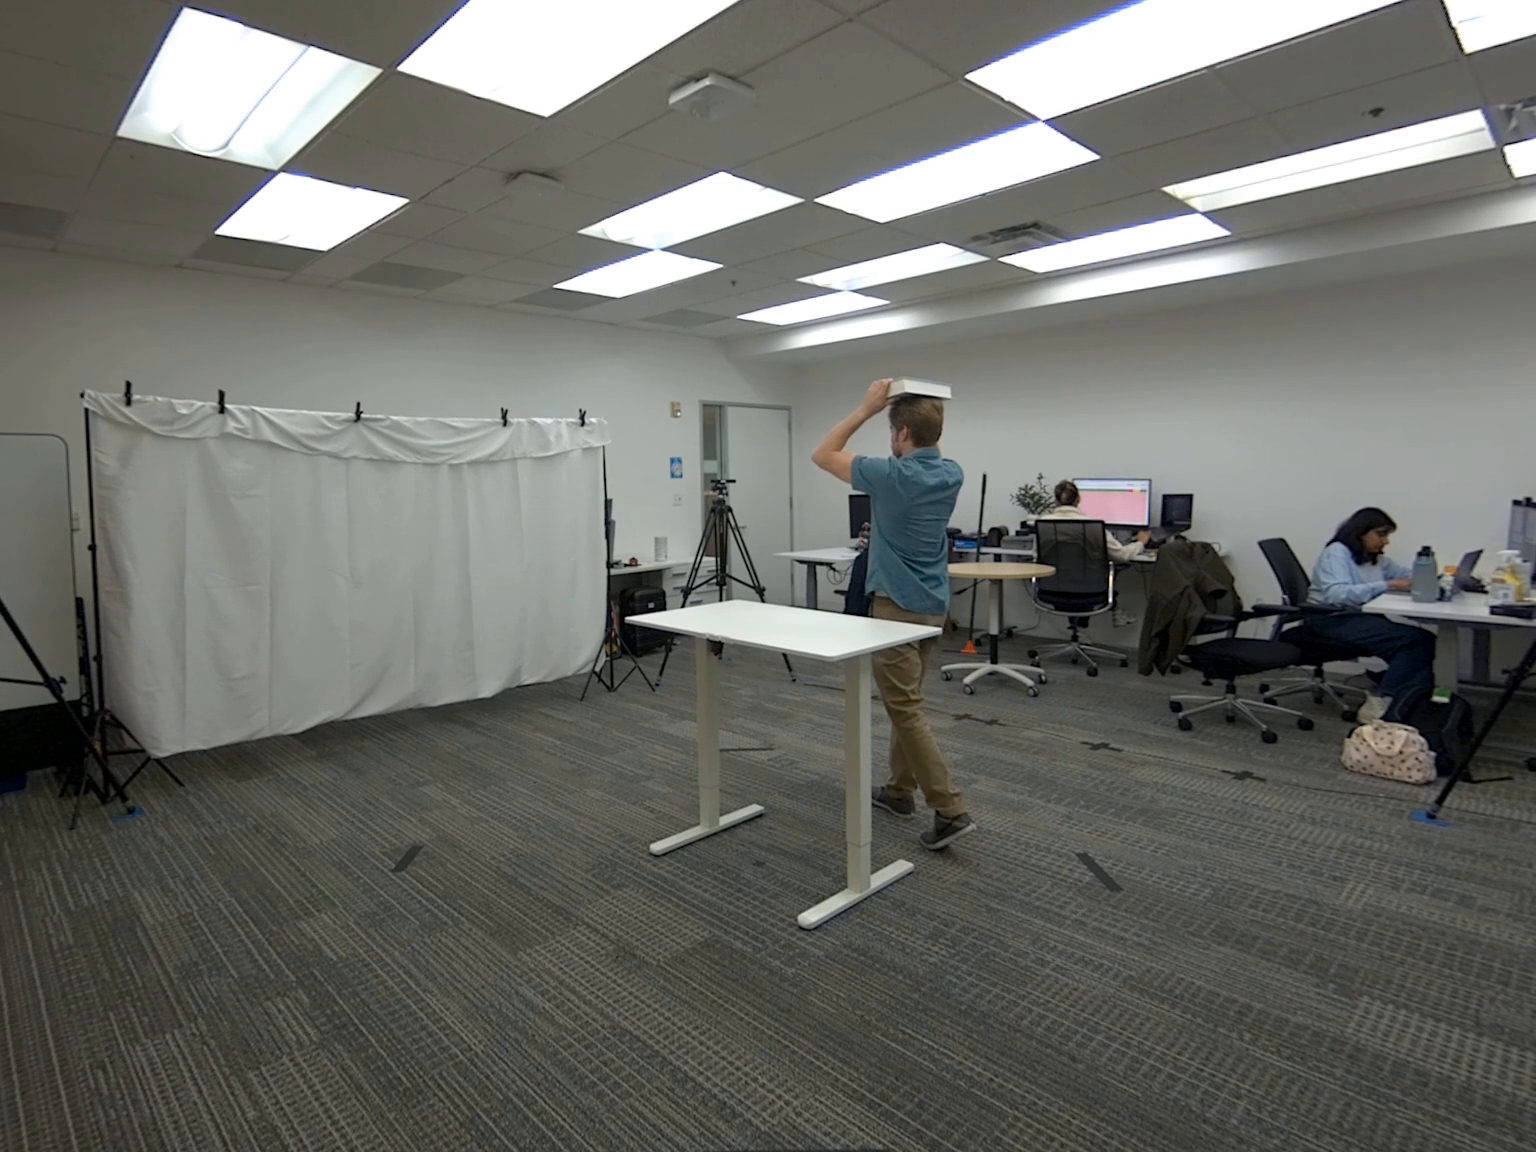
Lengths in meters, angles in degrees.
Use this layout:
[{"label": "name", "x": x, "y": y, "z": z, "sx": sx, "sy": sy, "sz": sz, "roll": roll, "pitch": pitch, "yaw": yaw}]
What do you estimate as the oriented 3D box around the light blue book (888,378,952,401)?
[{"label": "light blue book", "x": 0.561, "y": -0.708, "z": 3.325, "sx": 0.254, "sy": 0.059, "sz": 0.196, "roll": -1, "pitch": -1, "yaw": -33}]
